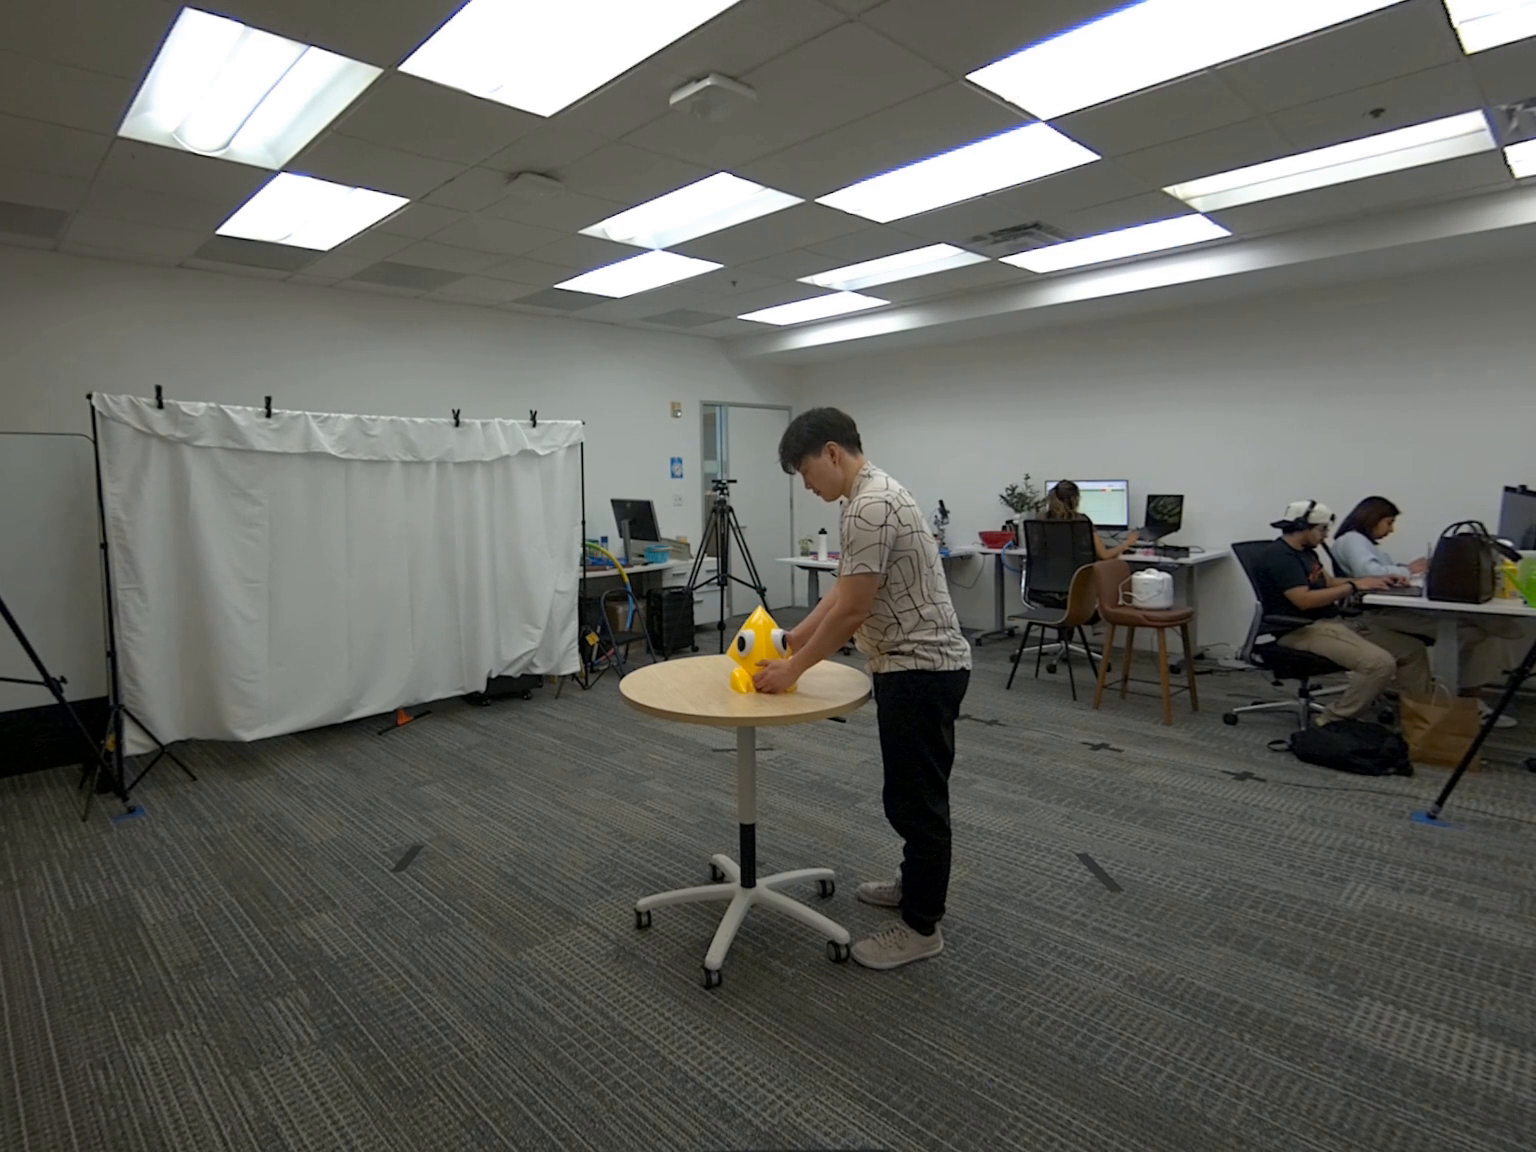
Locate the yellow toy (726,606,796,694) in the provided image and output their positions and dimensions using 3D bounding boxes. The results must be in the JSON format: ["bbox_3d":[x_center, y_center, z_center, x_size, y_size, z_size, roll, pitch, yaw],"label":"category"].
[{"bbox_3d":[-0.007,0.212,2.546,0.204,0.230,0.194,0,3,-4],"label":"yellow toy"}]
